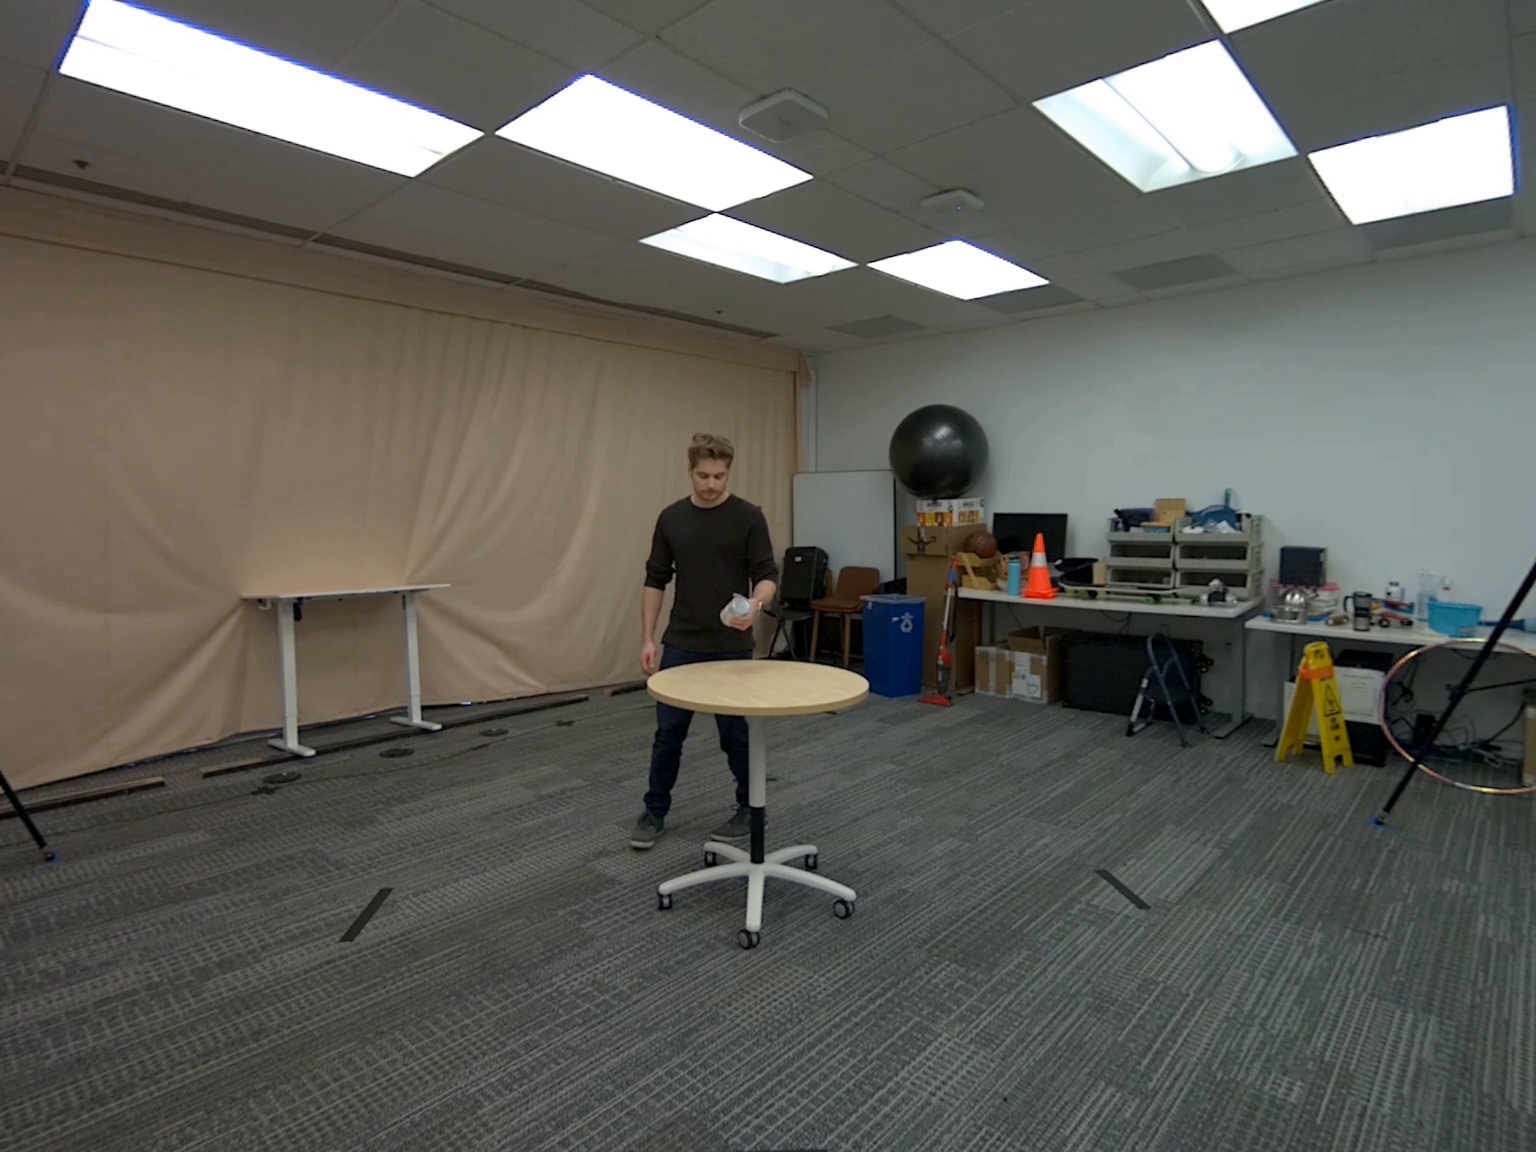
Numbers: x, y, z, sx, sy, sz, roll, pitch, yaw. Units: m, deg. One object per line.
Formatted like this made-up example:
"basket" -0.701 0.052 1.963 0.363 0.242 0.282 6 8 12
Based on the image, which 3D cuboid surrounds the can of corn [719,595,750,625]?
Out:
"can of corn" -0.121 0.122 3.131 0.073 0.075 0.111 -1 -17 -14
